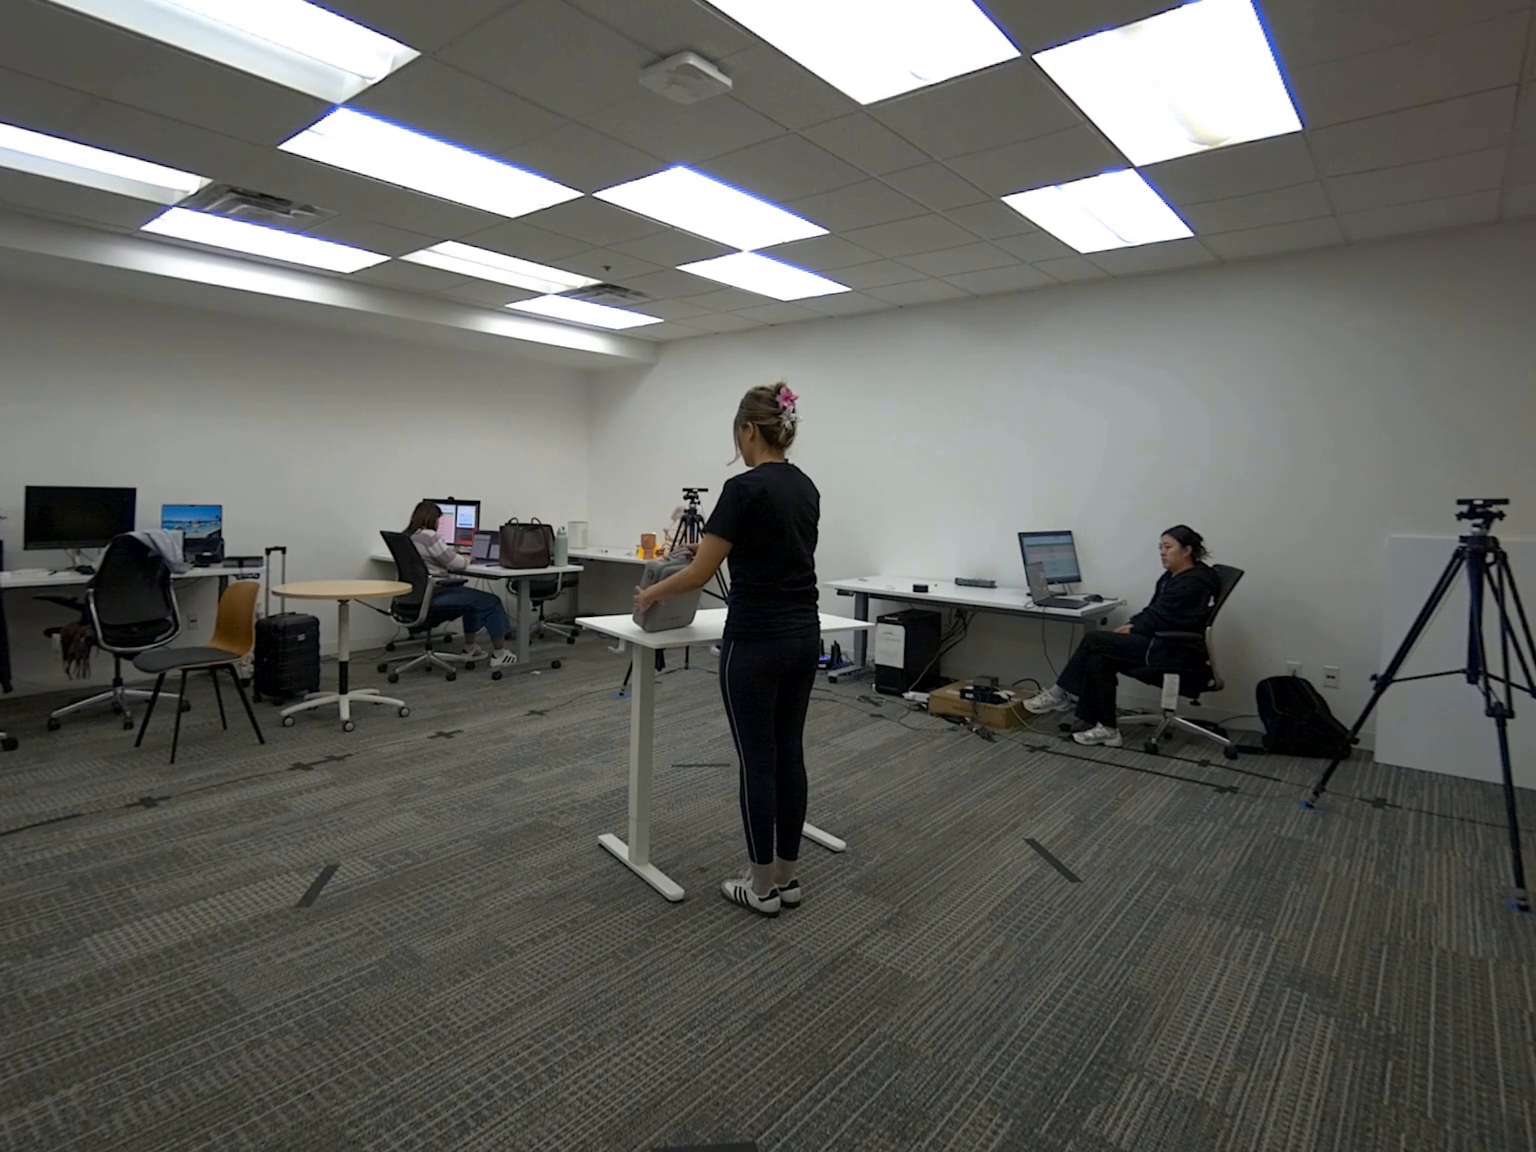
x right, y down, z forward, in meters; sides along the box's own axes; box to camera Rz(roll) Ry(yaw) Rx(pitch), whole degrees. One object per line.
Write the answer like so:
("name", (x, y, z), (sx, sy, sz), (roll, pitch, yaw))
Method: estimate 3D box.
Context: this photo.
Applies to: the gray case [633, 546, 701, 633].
("gray case", (-0.359, 0.057, 3.037), (0.108, 0.258, 0.249), (24, 16, 33))
